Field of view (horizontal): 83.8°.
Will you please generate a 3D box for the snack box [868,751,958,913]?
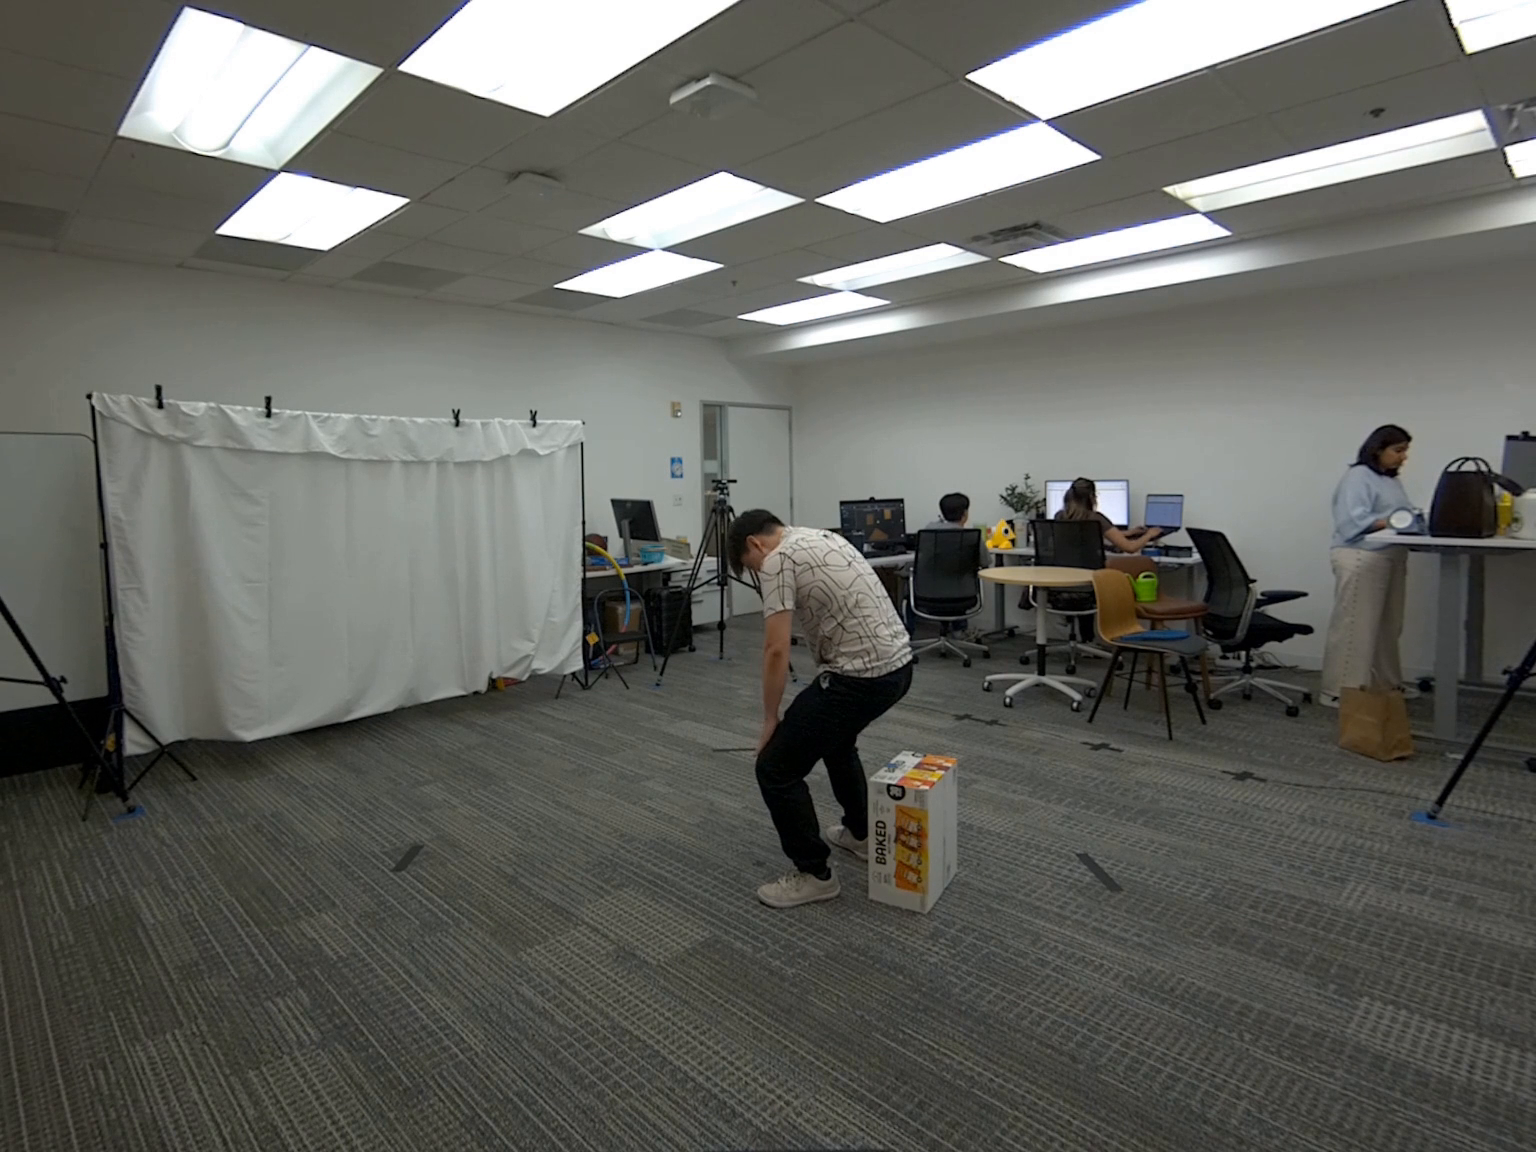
[{"bbox_3d":[0.502,0.856,2.909,0.211,0.404,0.333,1,5,29],"label":"snack box"}]
